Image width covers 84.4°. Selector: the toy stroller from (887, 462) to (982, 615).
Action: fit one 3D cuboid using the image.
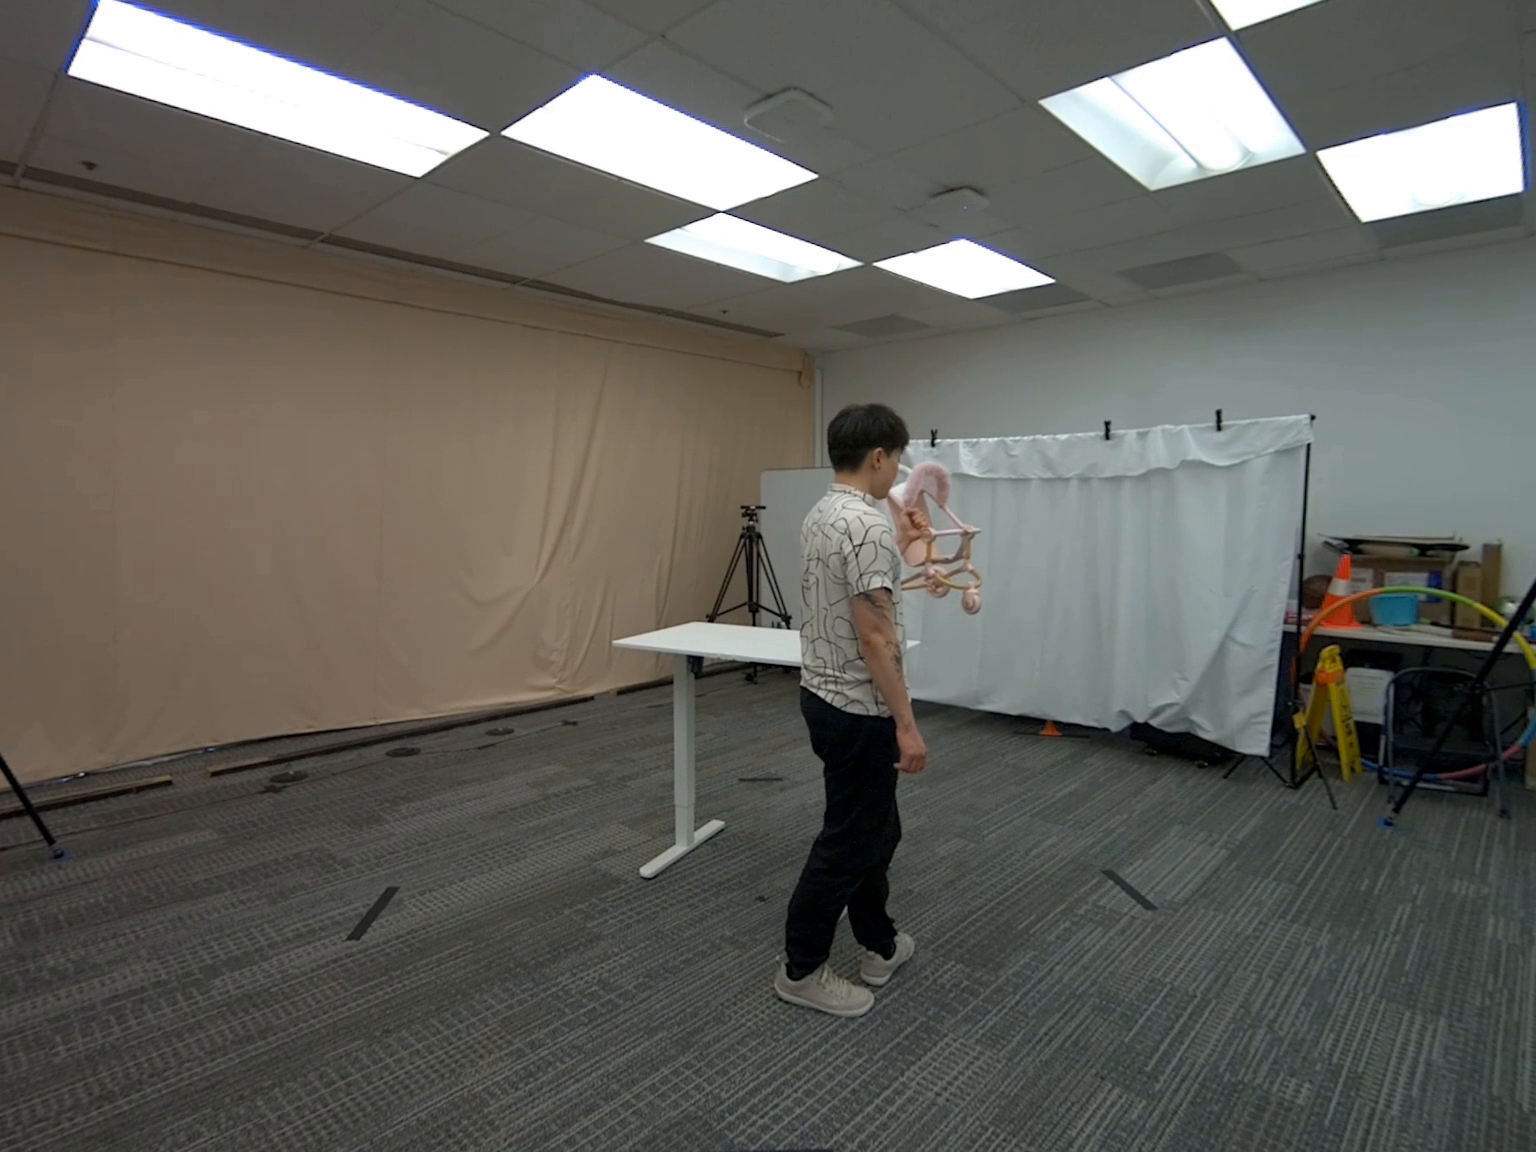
[{"bbox_3d":[0.534,-0.134,2.757,0.273,0.537,0.350,-3,-5,-34],"label":"toy stroller"}]
